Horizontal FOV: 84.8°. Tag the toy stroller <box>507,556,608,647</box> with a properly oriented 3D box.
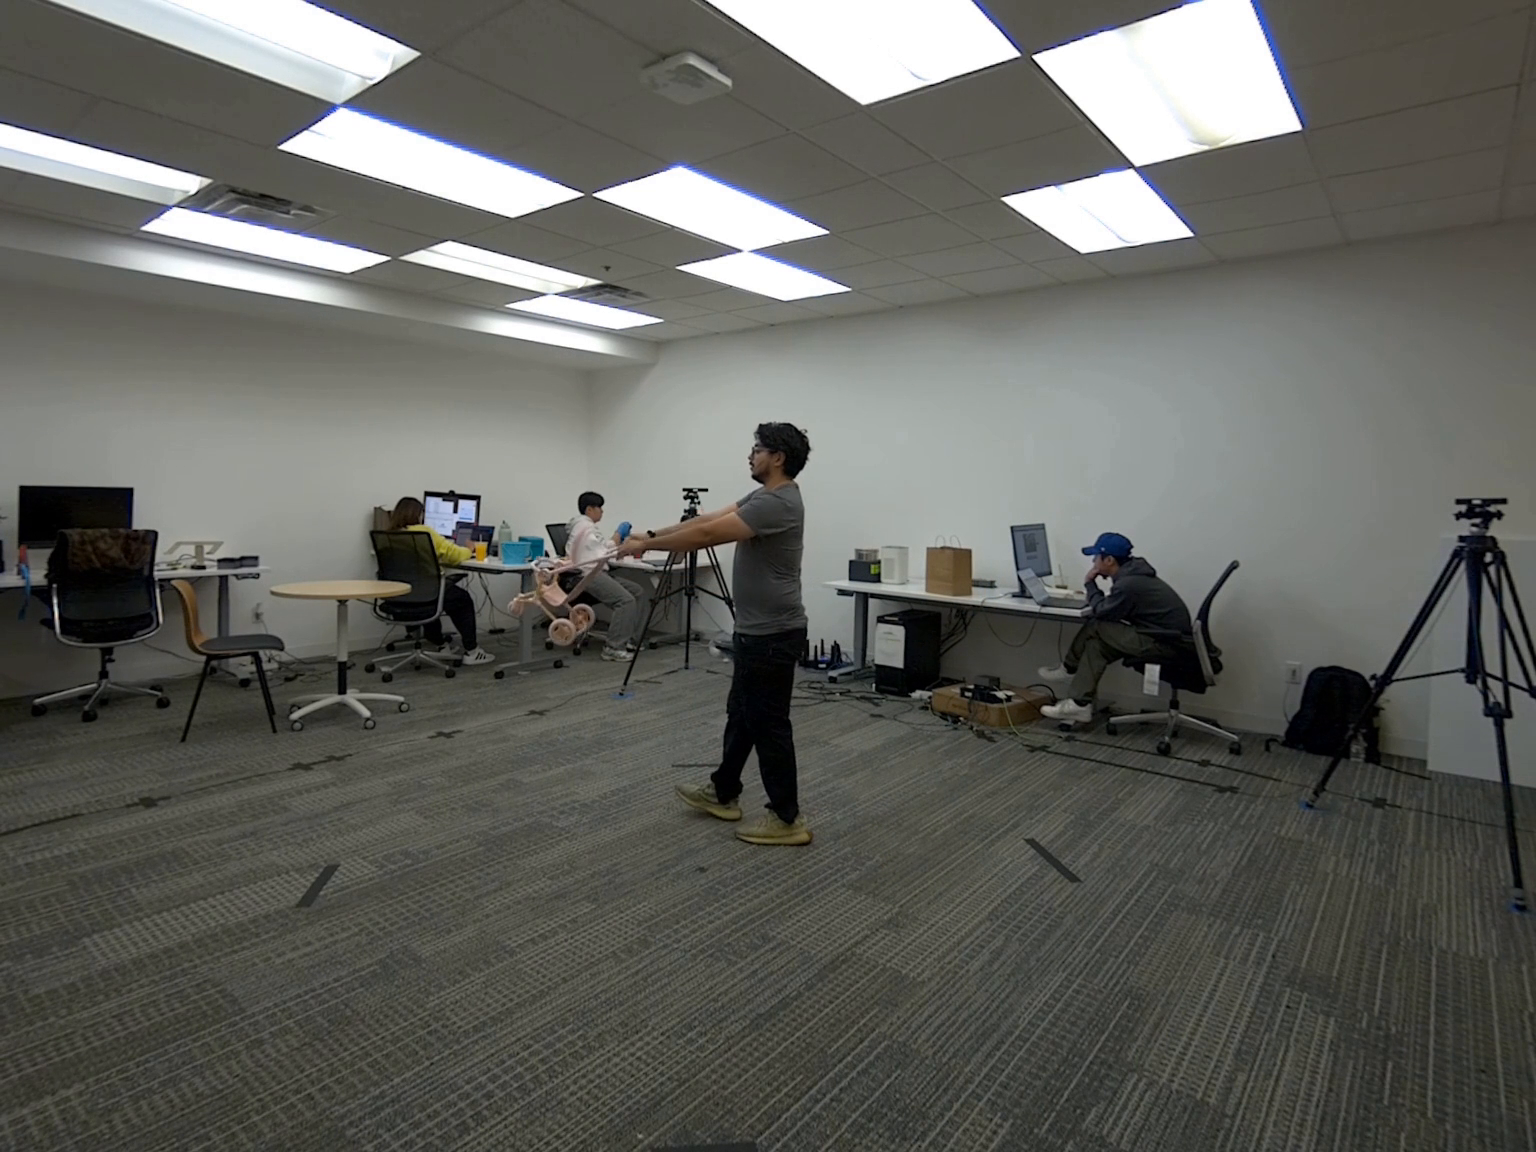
[{"bbox_3d":[-0.824,0.019,3.439,0.345,0.533,0.279,33,12,6],"label":"toy stroller"}]
